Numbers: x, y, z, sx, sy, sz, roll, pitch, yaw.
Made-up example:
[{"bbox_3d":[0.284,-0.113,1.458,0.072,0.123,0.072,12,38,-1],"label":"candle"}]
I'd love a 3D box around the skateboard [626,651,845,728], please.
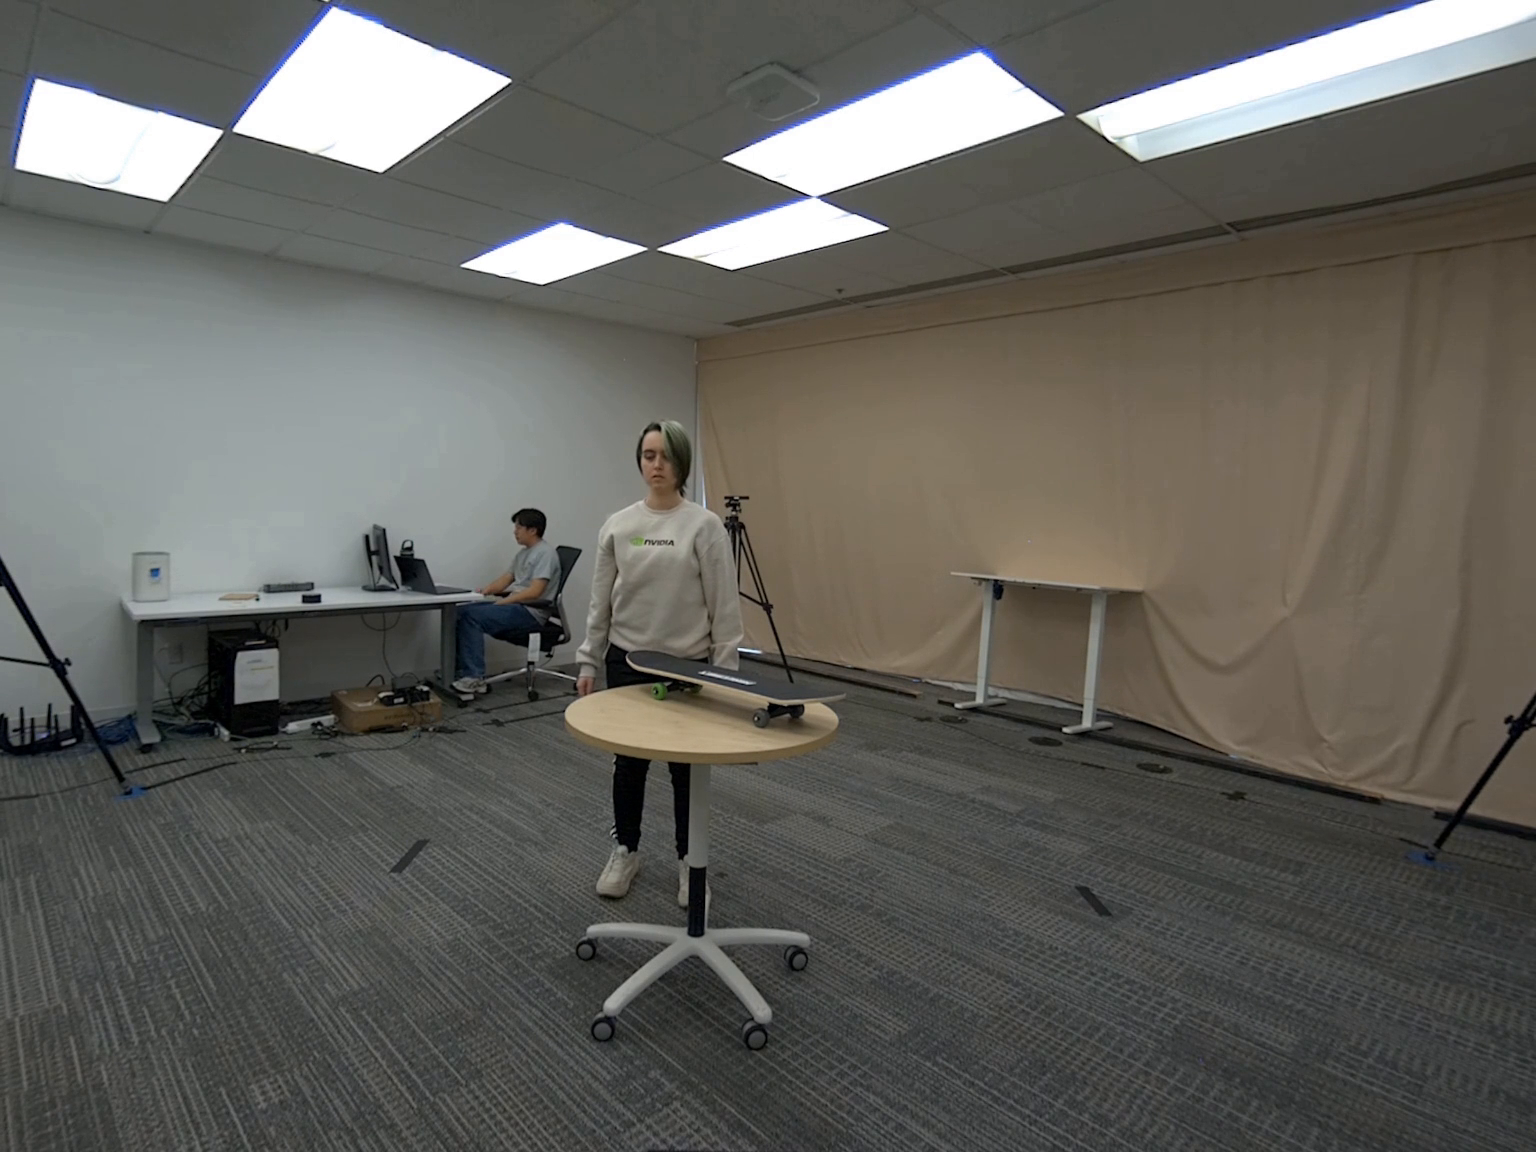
[{"bbox_3d":[-0.137,0.335,2.422,0.806,0.110,0.189,7,5,42],"label":"skateboard"}]
